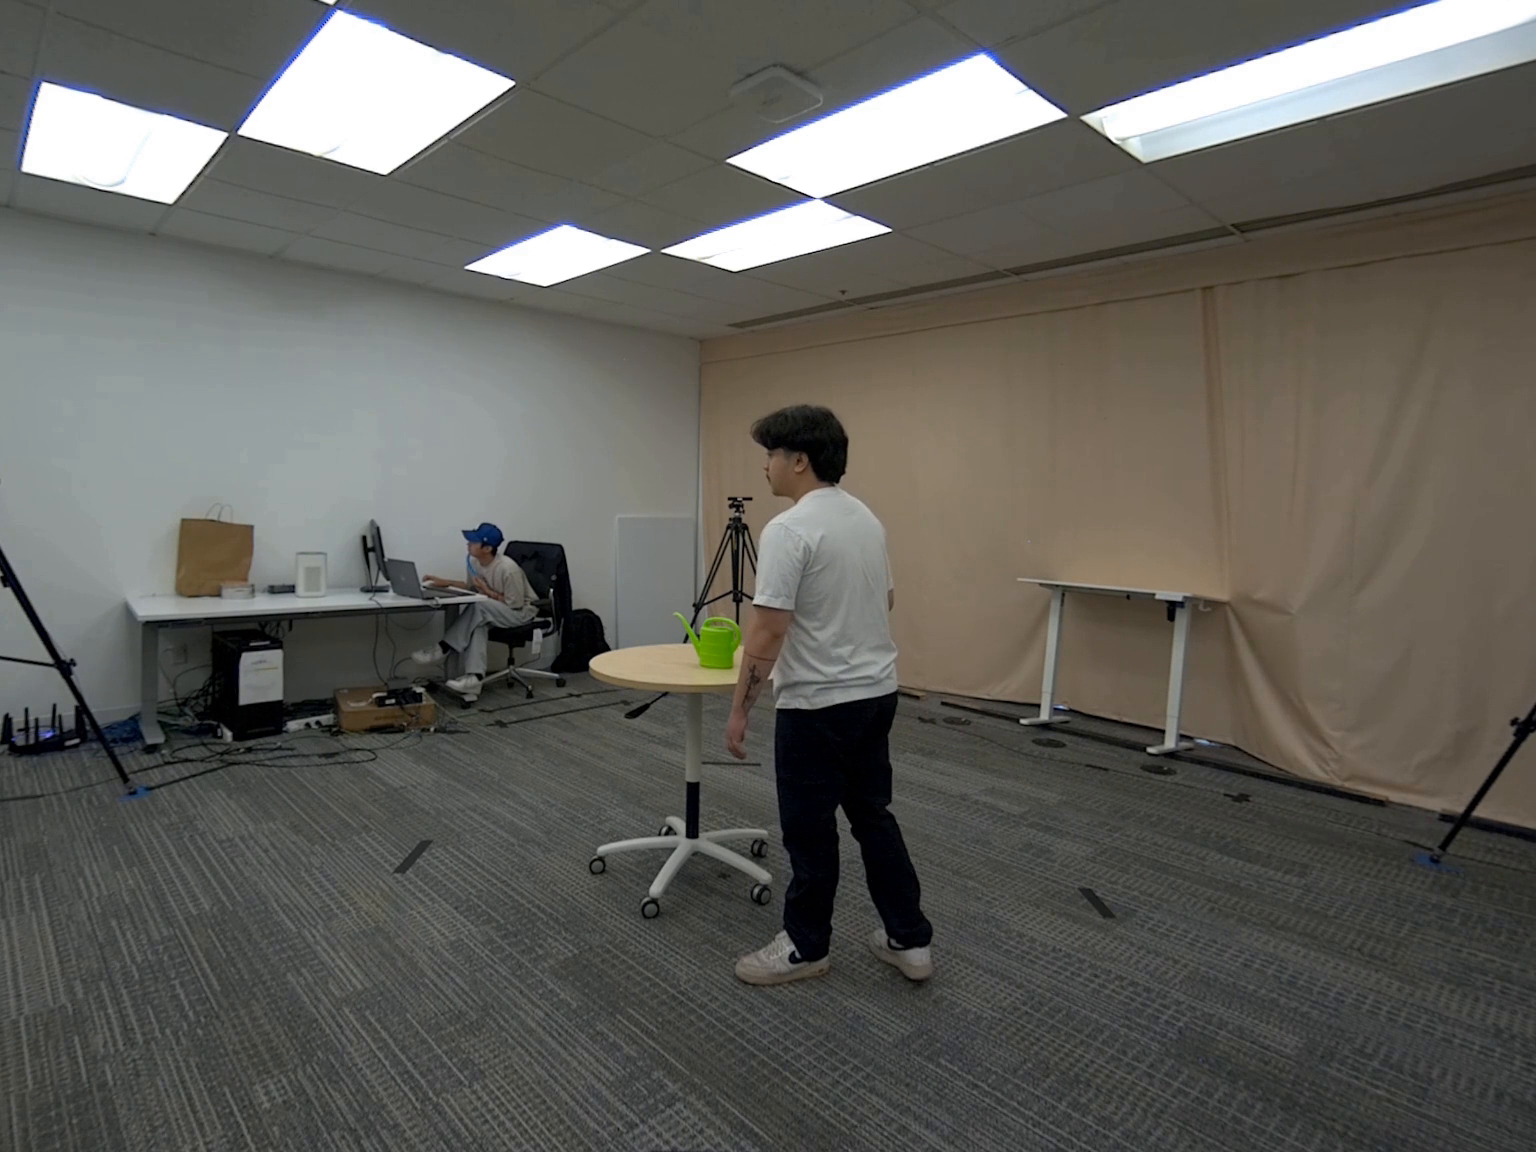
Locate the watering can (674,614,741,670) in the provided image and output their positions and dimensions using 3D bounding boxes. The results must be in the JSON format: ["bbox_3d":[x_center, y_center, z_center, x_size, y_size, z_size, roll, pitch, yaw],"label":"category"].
[{"bbox_3d":[-0.228,0.233,3.031,0.285,0.176,0.096,7,8,41],"label":"watering can"}]
